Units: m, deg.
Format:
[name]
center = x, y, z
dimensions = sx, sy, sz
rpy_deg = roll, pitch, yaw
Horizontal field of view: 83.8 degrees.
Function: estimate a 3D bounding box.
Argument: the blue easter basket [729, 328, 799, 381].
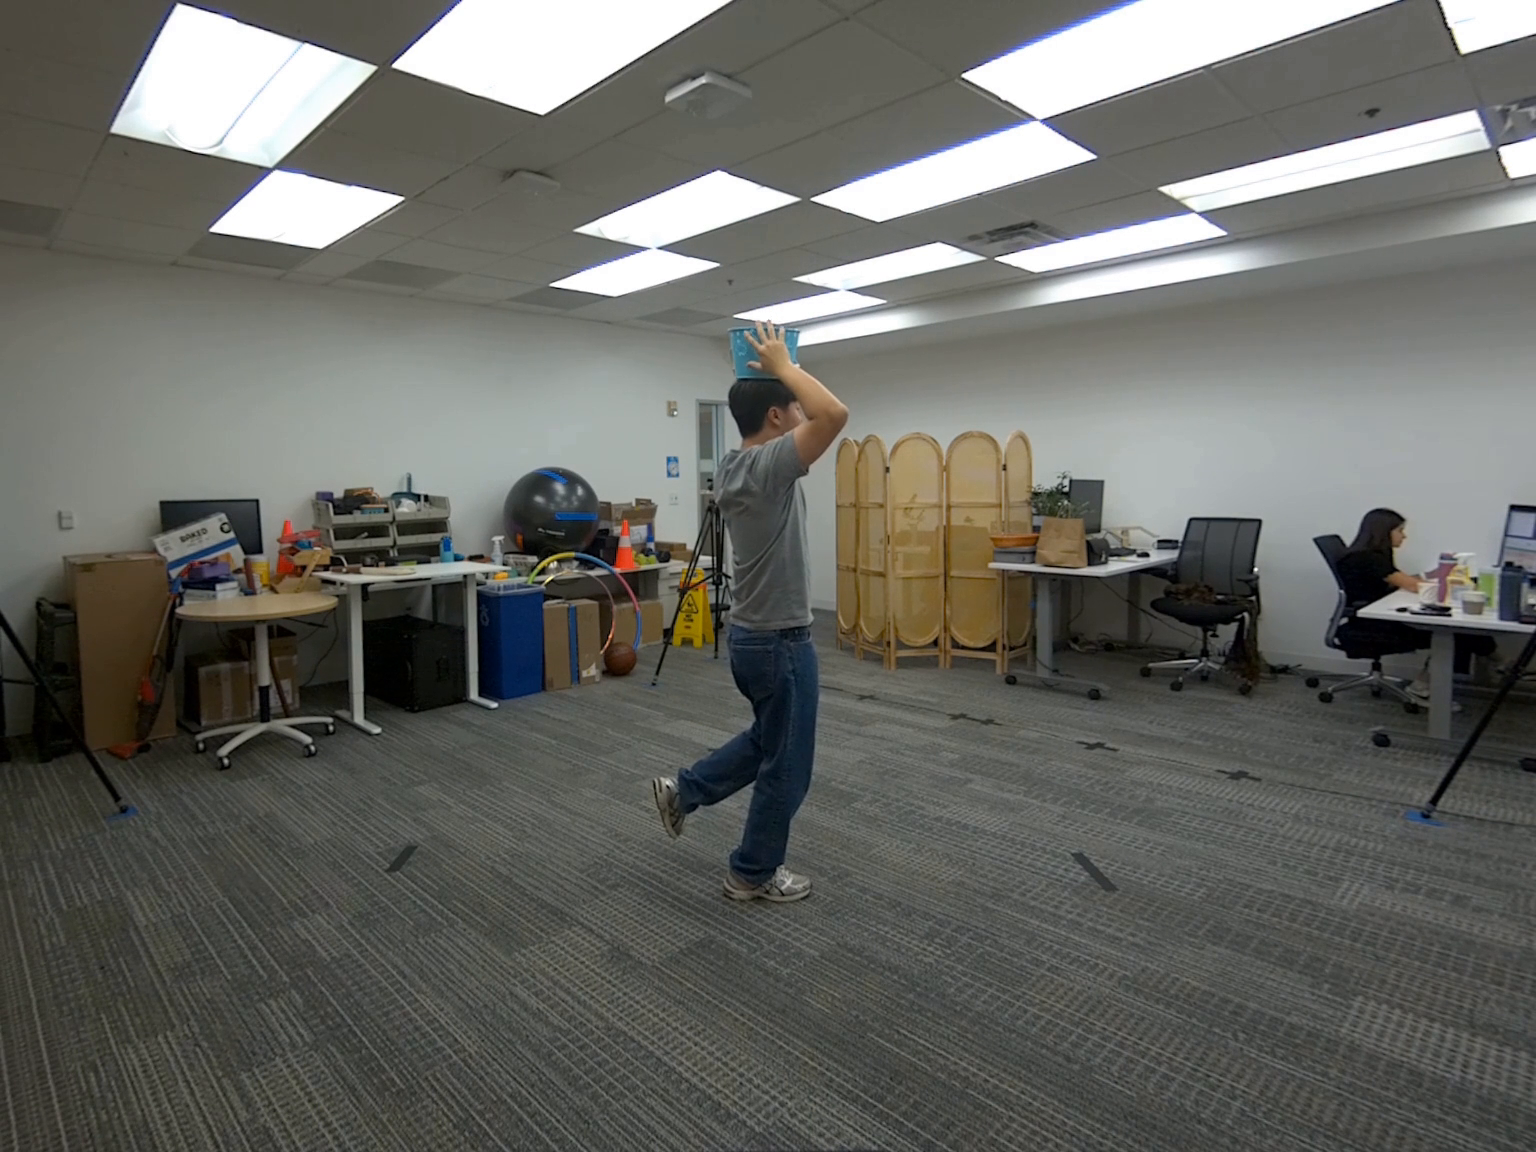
[blue easter basket]
center = -0.003, -0.714, 2.738
dimensions = 0.243, 0.154, 0.246
rpy_deg = -1, 10, -2
